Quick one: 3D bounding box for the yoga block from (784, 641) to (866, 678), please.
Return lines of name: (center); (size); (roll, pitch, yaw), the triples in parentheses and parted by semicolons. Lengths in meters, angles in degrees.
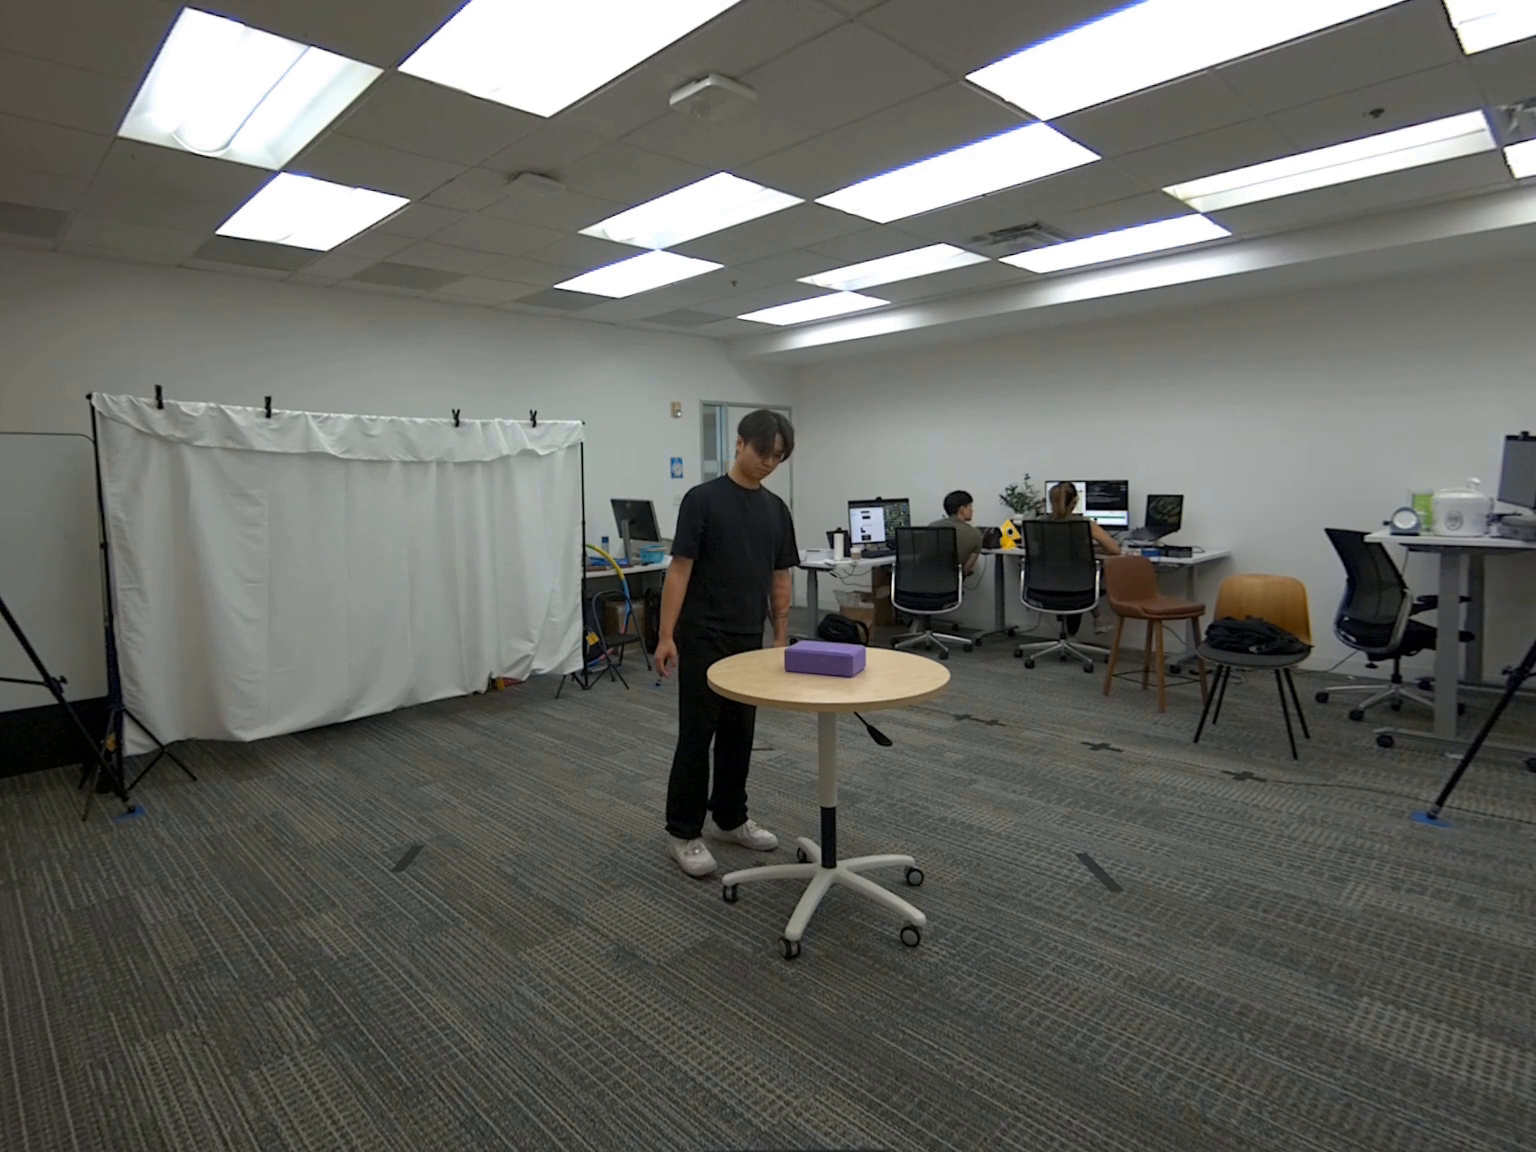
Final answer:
yoga block: (0.188, 0.264, 2.725); (0.234, 0.076, 0.146); (2, 6, 22)
